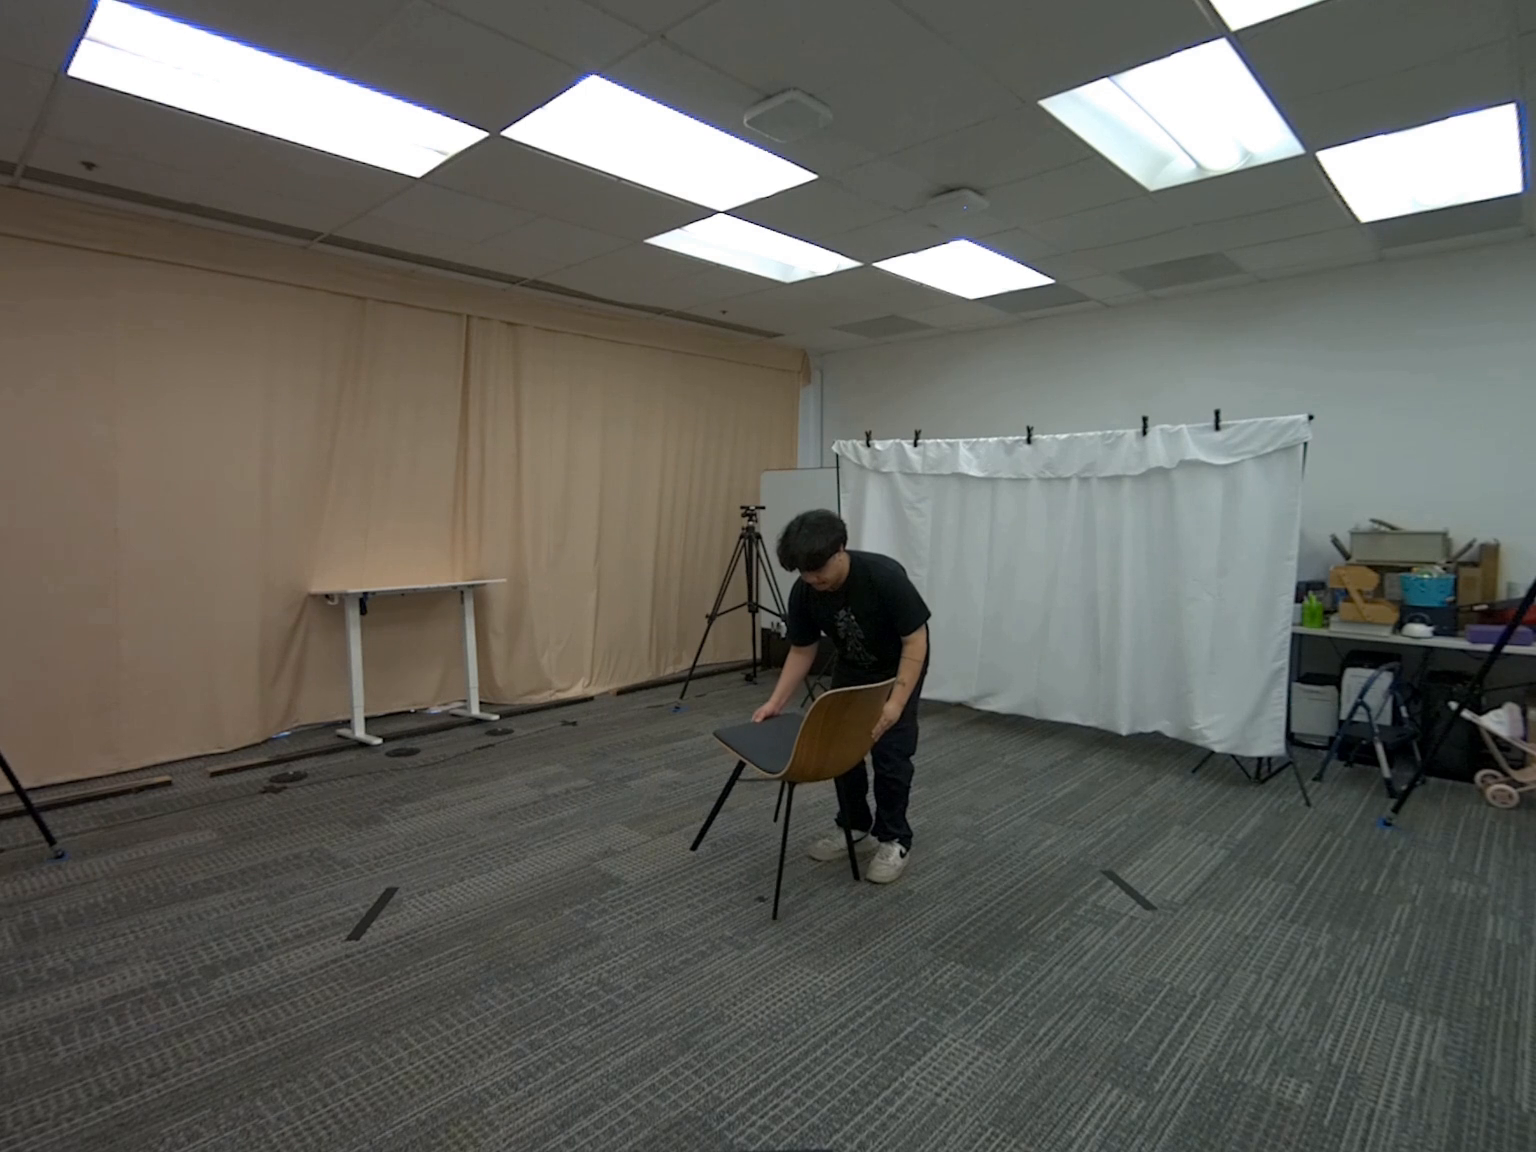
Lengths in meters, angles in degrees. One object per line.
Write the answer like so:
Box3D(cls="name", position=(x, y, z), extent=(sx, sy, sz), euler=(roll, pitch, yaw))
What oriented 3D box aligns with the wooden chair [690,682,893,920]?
Box3D(cls="wooden chair", position=(0.085, 0.671, 3.035), extent=(0.463, 0.872, 0.543), euler=(-3, 22, -43))
